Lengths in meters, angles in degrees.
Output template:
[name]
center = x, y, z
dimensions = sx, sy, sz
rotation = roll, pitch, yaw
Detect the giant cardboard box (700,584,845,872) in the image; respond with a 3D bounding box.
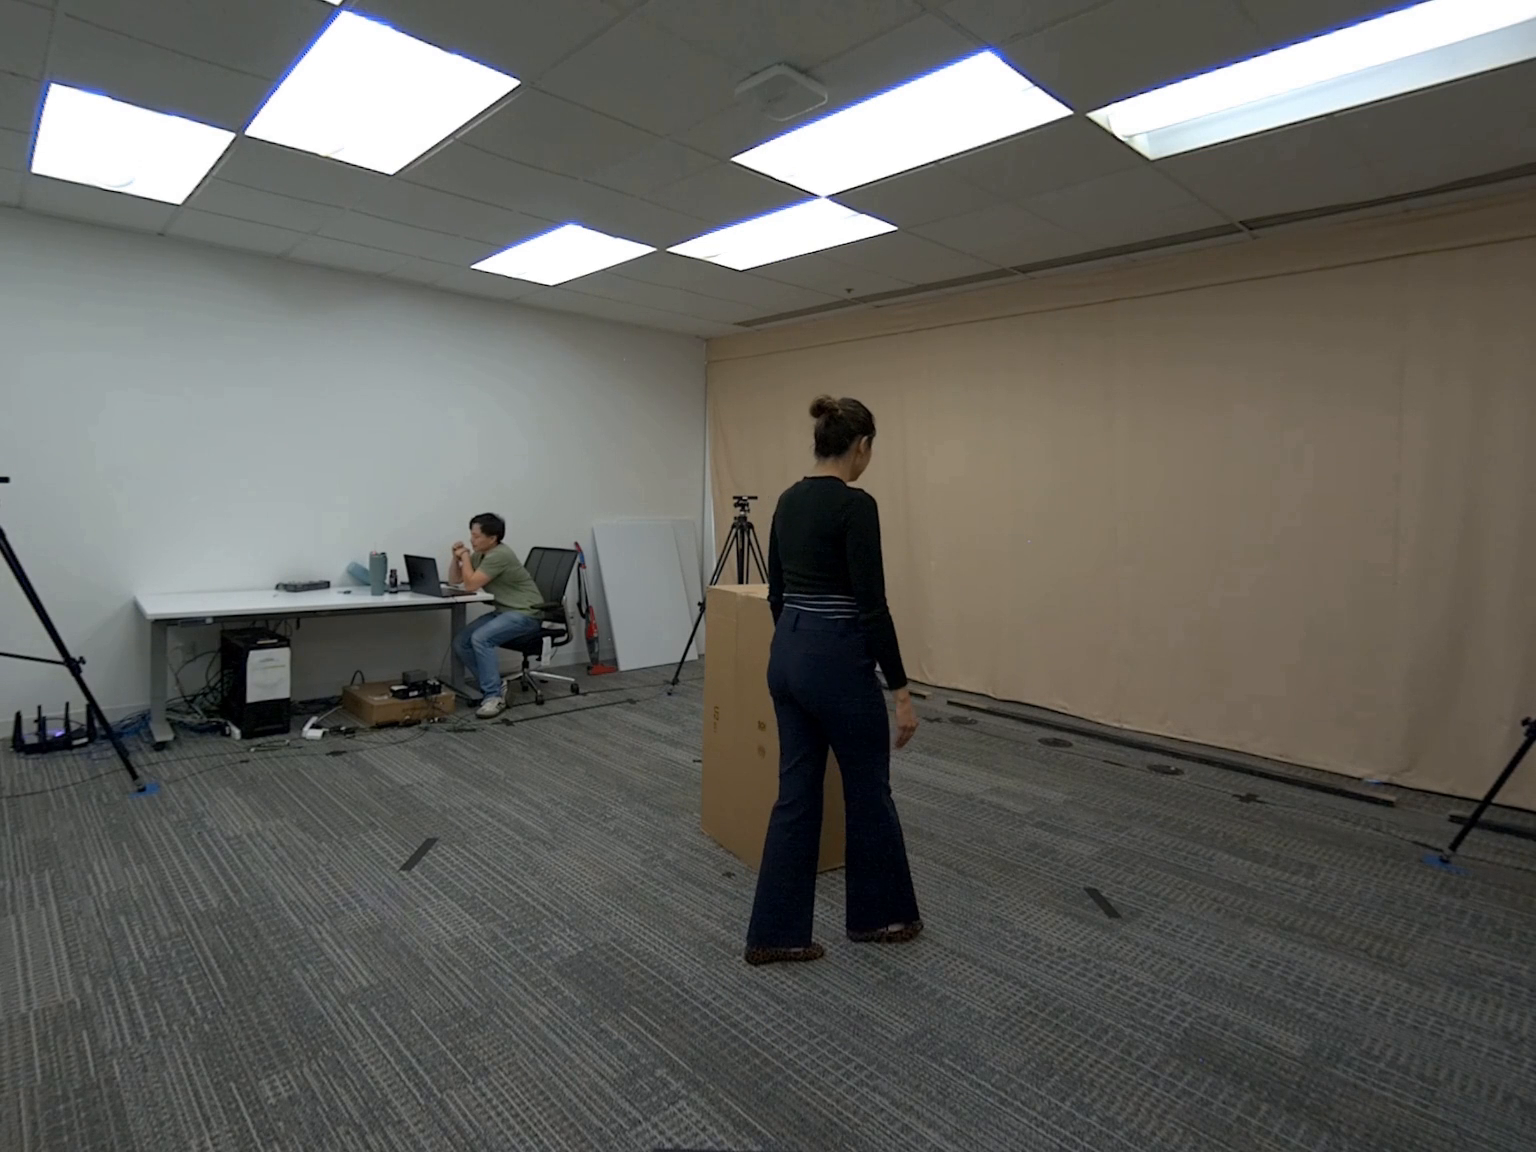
[giant cardboard box]
center = 0.051, 0.576, 3.363
dimensions = 0.417, 1.024, 0.591
rotation = 0, 3, -33
